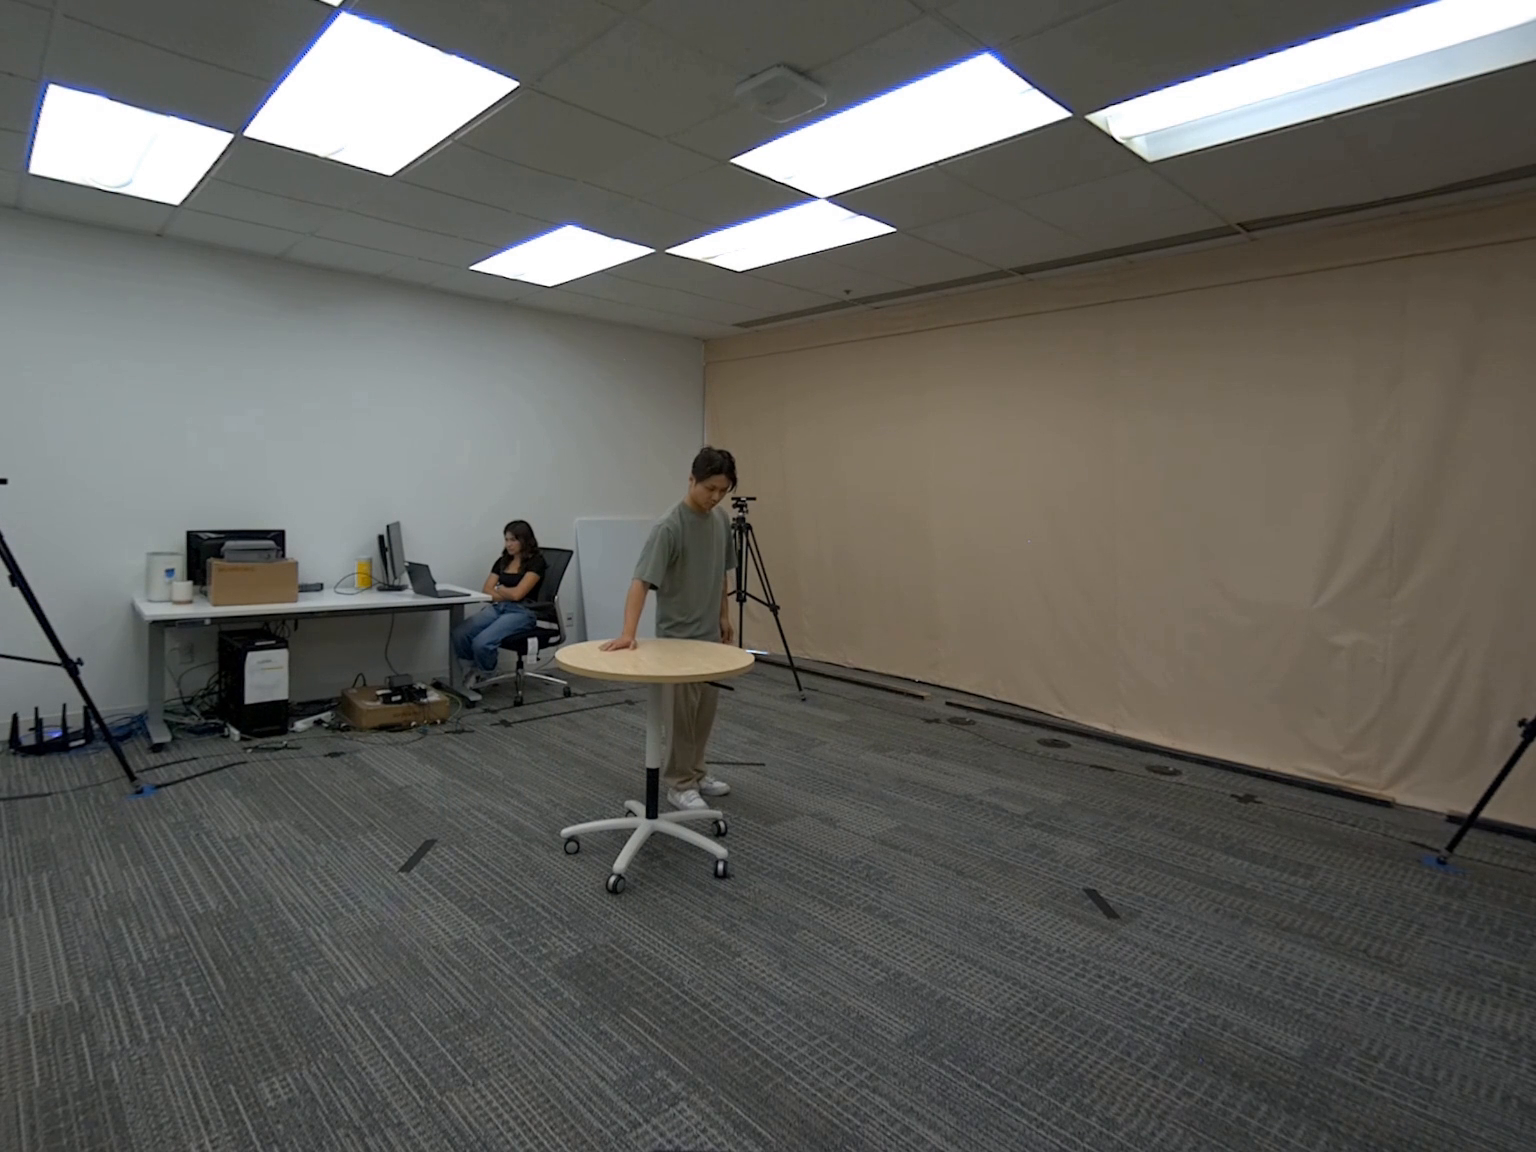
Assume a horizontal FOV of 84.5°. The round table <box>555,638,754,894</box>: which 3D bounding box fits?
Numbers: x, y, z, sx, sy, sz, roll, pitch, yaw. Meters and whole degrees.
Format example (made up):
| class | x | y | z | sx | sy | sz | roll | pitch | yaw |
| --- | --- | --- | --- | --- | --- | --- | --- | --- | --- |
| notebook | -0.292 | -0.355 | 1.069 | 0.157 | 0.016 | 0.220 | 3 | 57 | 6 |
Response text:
| class | x | y | z | sx | sy | sz | roll | pitch | yaw |
| --- | --- | --- | --- | --- | --- | --- | --- | --- | --- |
| round table | -0.458 | 0.701 | 3.273 | 0.763 | 0.792 | 0.766 | 2 | 4 | -1 |
